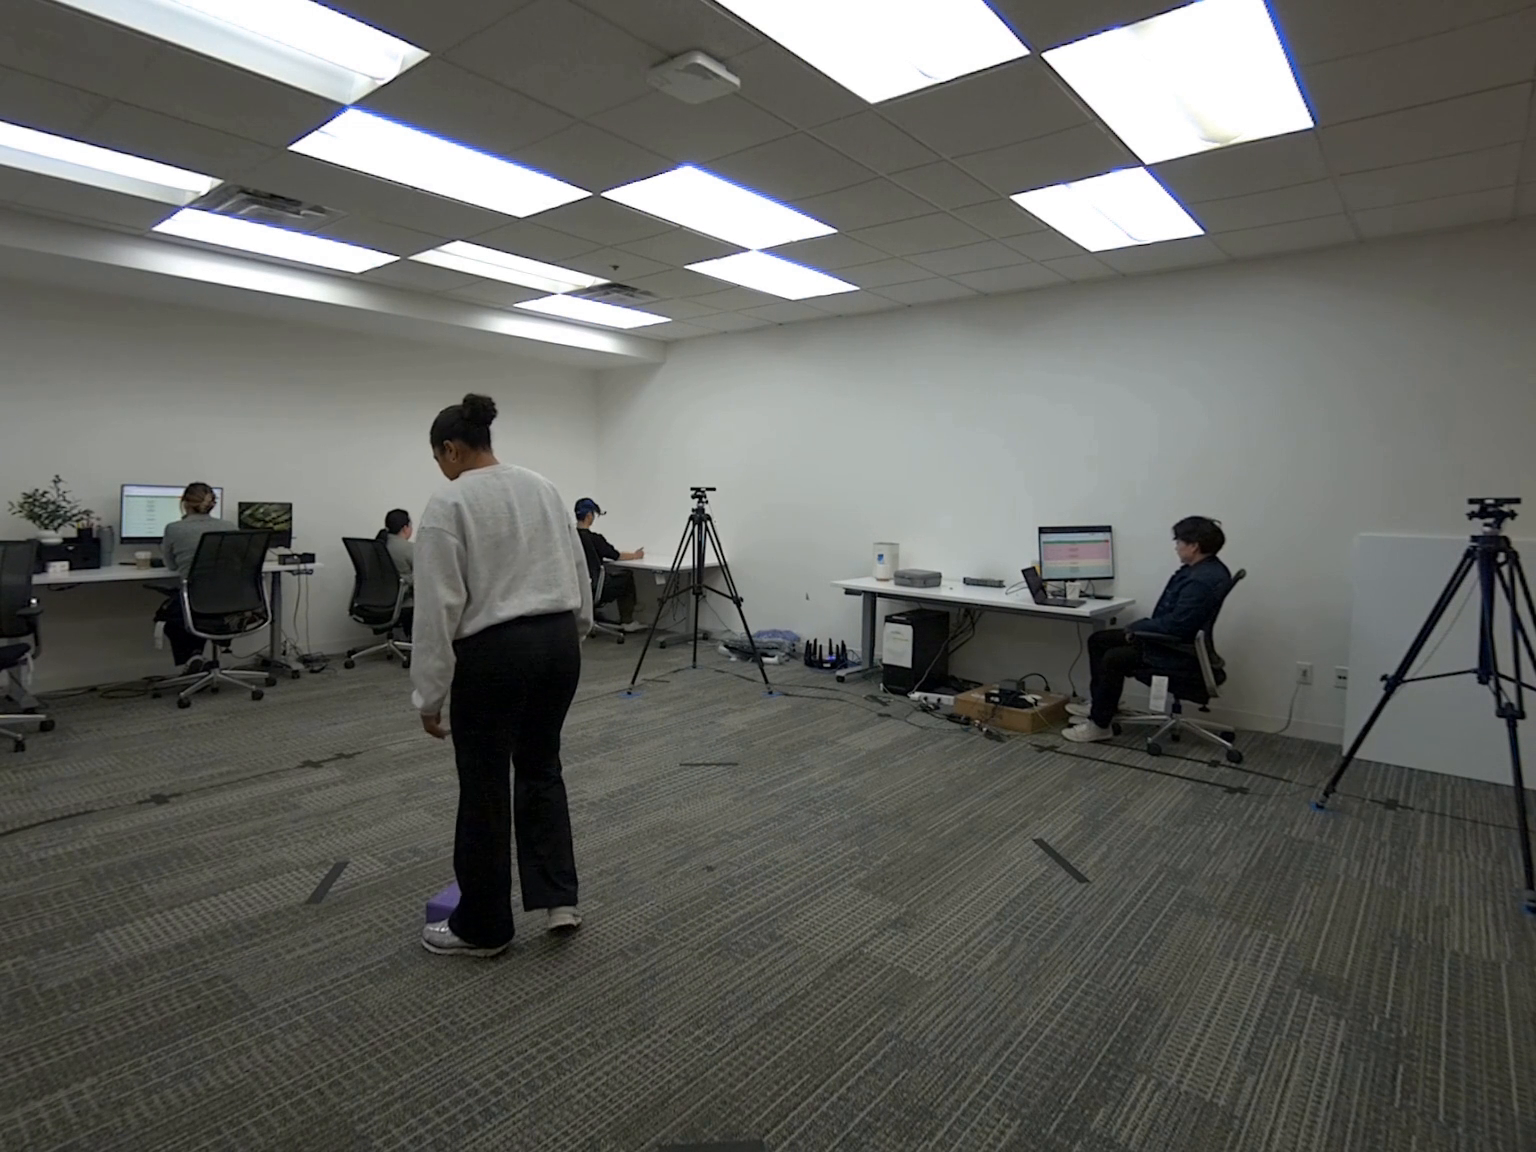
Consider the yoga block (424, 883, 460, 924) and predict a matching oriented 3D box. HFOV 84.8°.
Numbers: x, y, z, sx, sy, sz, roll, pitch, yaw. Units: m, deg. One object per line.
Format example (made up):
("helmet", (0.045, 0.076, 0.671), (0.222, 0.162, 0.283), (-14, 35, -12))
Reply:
("yoga block", (-0.983, 1.050, 2.751), (0.152, 0.076, 0.226), (2, 6, 17))
